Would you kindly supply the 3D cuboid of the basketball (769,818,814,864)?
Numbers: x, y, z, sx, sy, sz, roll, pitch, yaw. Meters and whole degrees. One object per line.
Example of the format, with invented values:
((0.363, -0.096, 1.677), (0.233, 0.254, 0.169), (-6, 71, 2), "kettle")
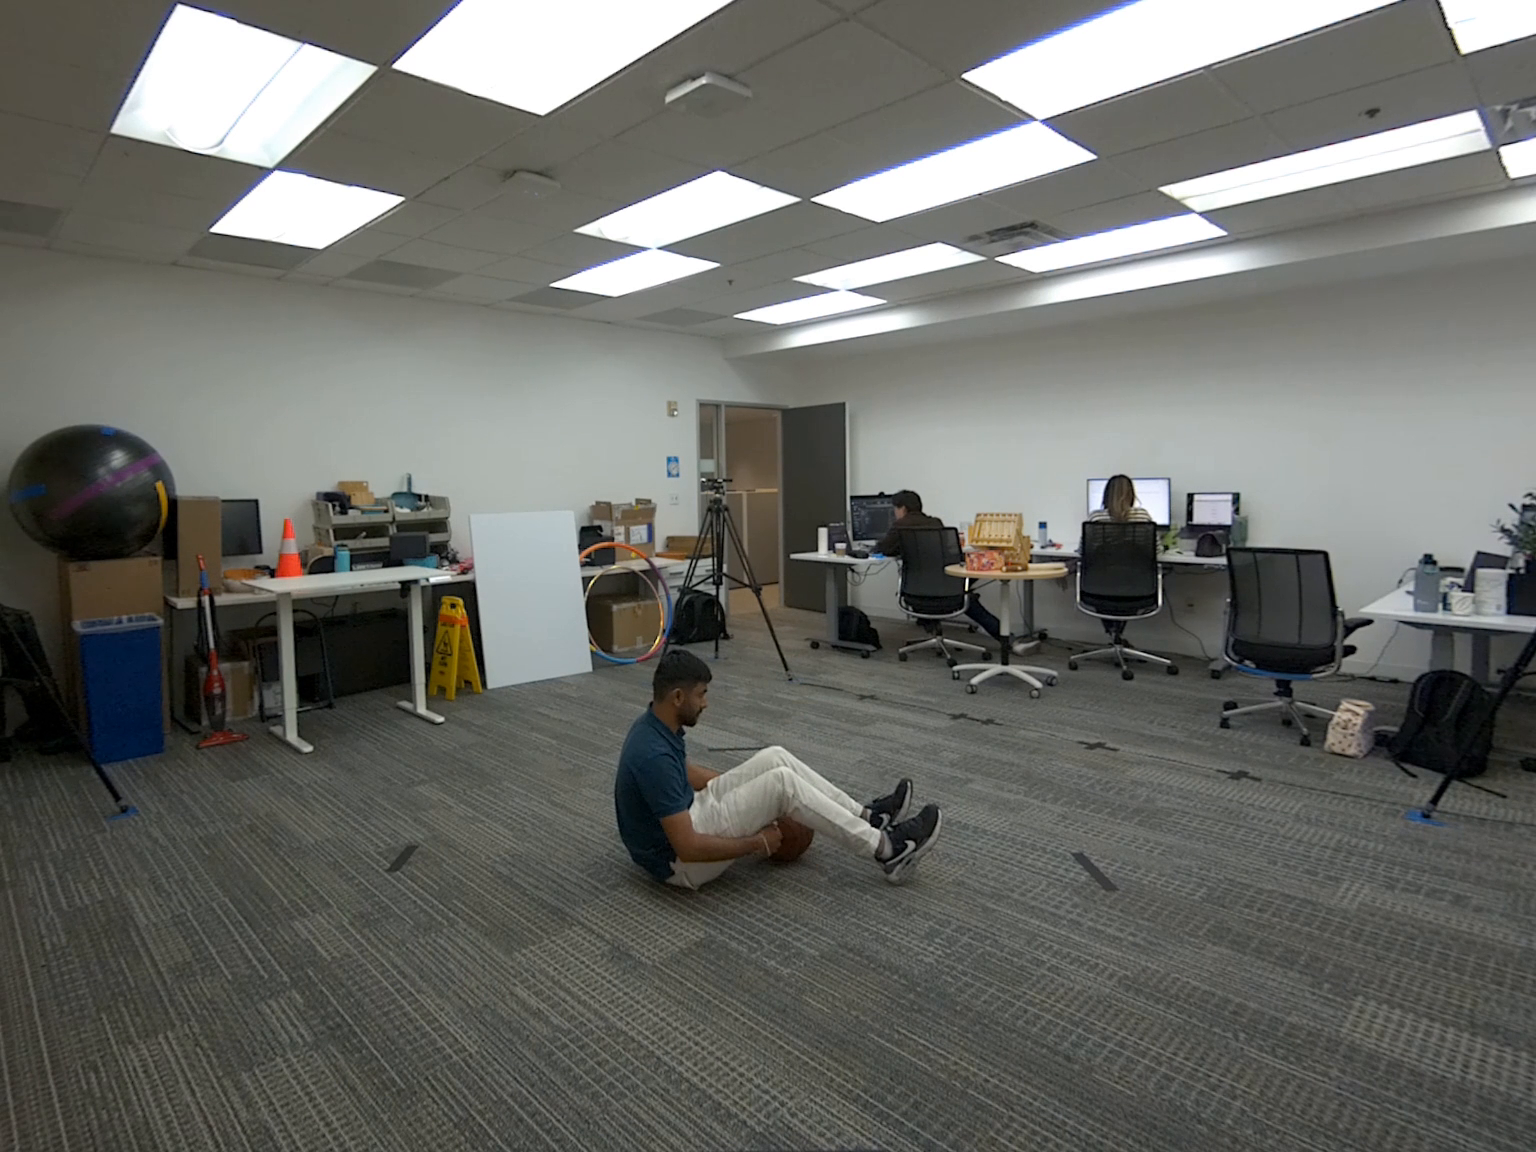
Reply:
((0.058, 0.915, 3.138), (0.236, 0.235, 0.237), (-1, 5, -2), "basketball")
